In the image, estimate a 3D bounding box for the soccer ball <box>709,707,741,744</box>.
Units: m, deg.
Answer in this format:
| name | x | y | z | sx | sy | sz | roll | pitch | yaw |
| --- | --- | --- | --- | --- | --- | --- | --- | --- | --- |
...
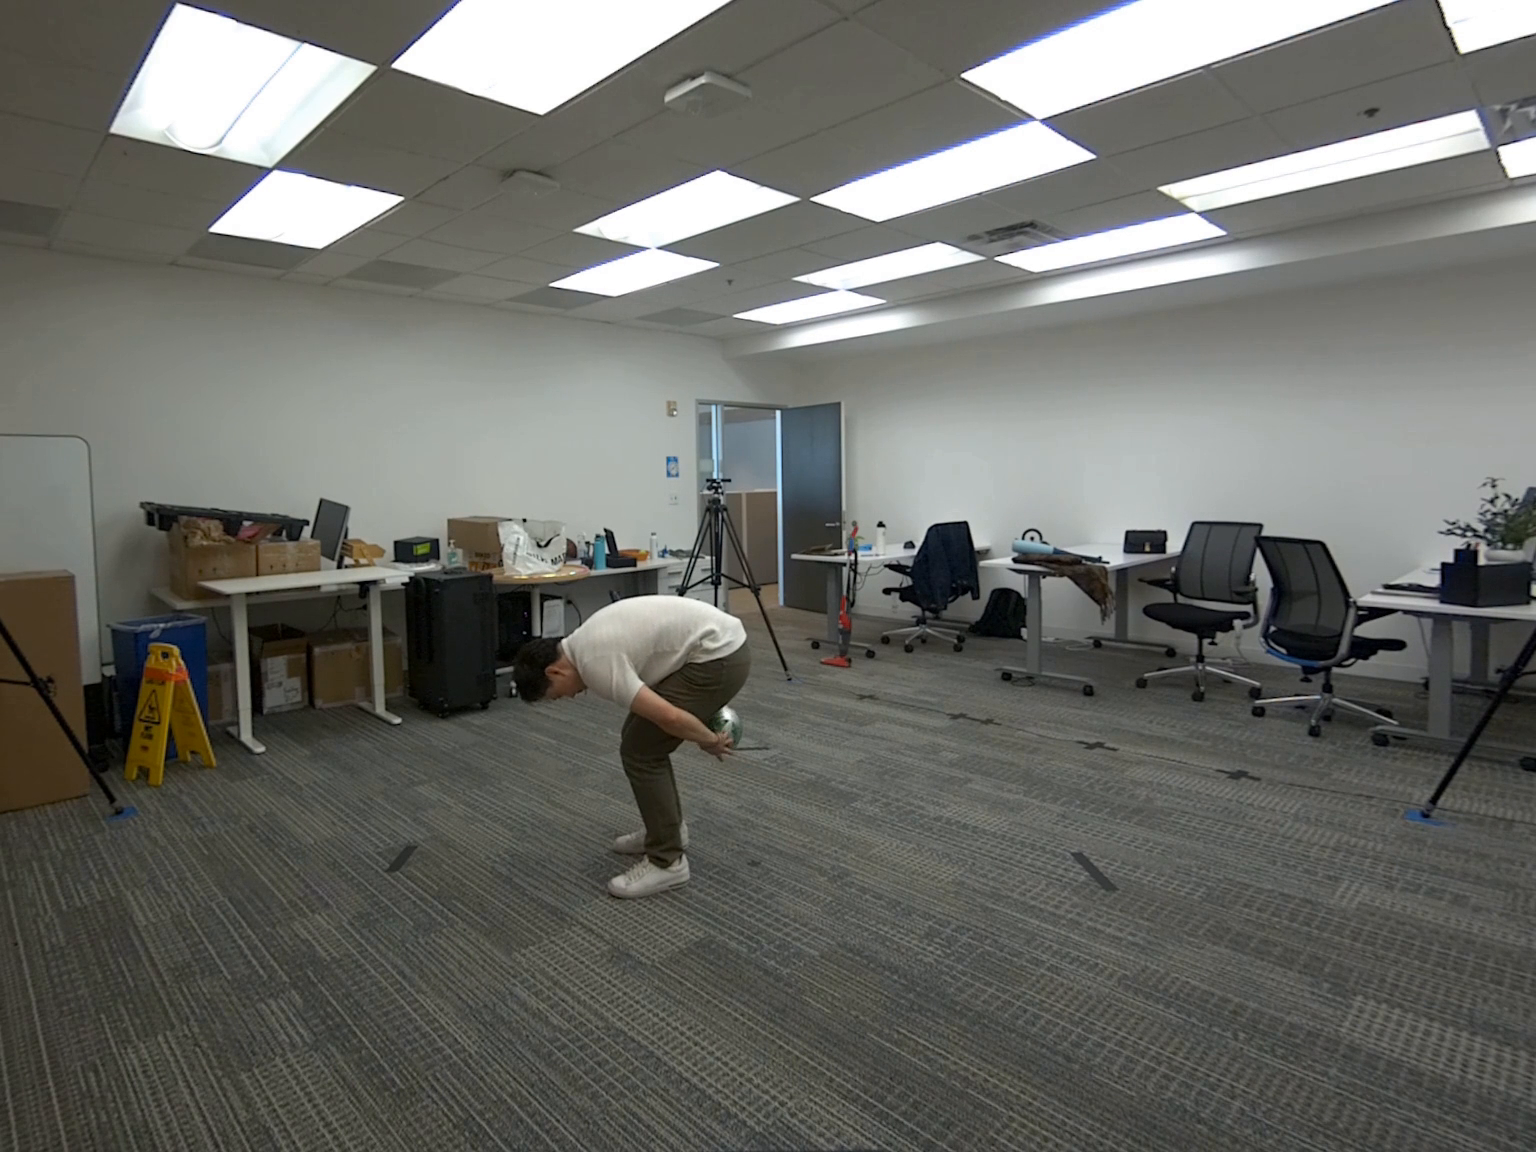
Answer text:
| name | x | y | z | sx | sy | sz | roll | pitch | yaw |
| --- | --- | --- | --- | --- | --- | --- | --- | --- | --- |
| soccer ball | -0.185 | 0.569 | 3.202 | 0.187 | 0.187 | 0.188 | -1 | 5 | -2 |
